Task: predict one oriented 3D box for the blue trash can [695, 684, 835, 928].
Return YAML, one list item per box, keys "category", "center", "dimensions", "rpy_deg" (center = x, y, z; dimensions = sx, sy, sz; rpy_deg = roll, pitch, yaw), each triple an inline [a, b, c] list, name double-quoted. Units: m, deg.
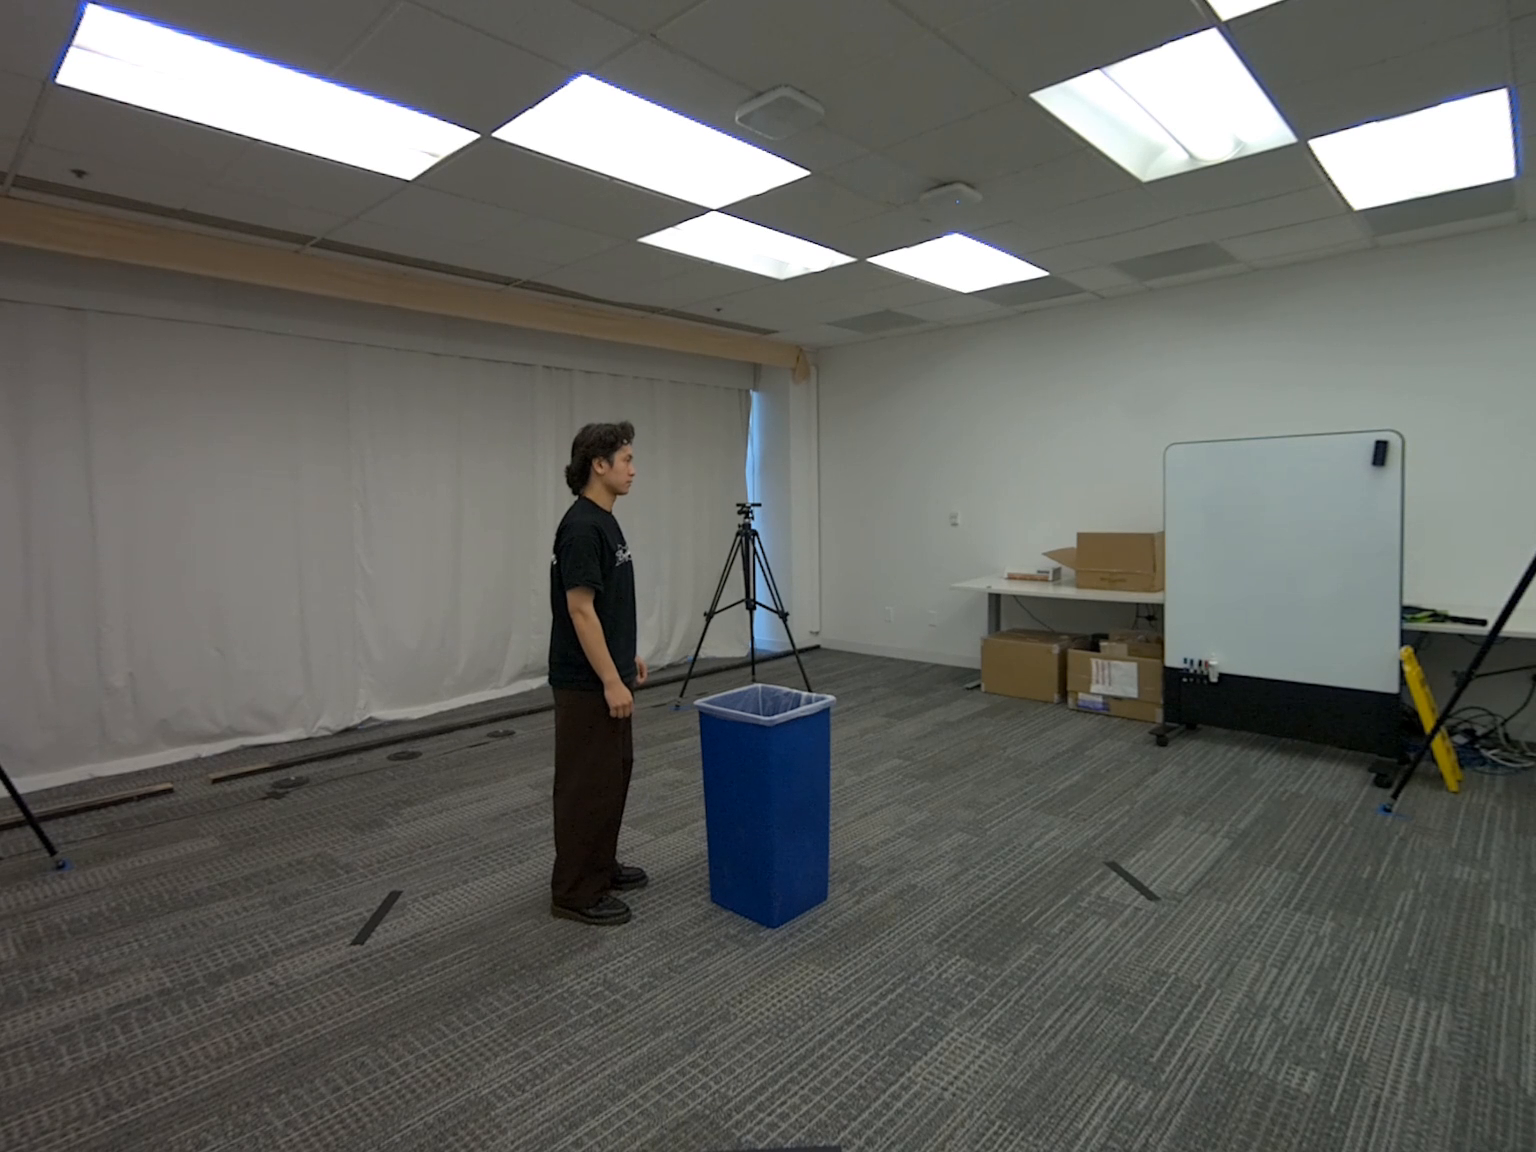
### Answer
- category: "blue trash can"
  center: [-0.003, 0.782, 2.927]
  dimensions: [0.390, 0.712, 0.363]
  rpy_deg: [2, 4, 43]
